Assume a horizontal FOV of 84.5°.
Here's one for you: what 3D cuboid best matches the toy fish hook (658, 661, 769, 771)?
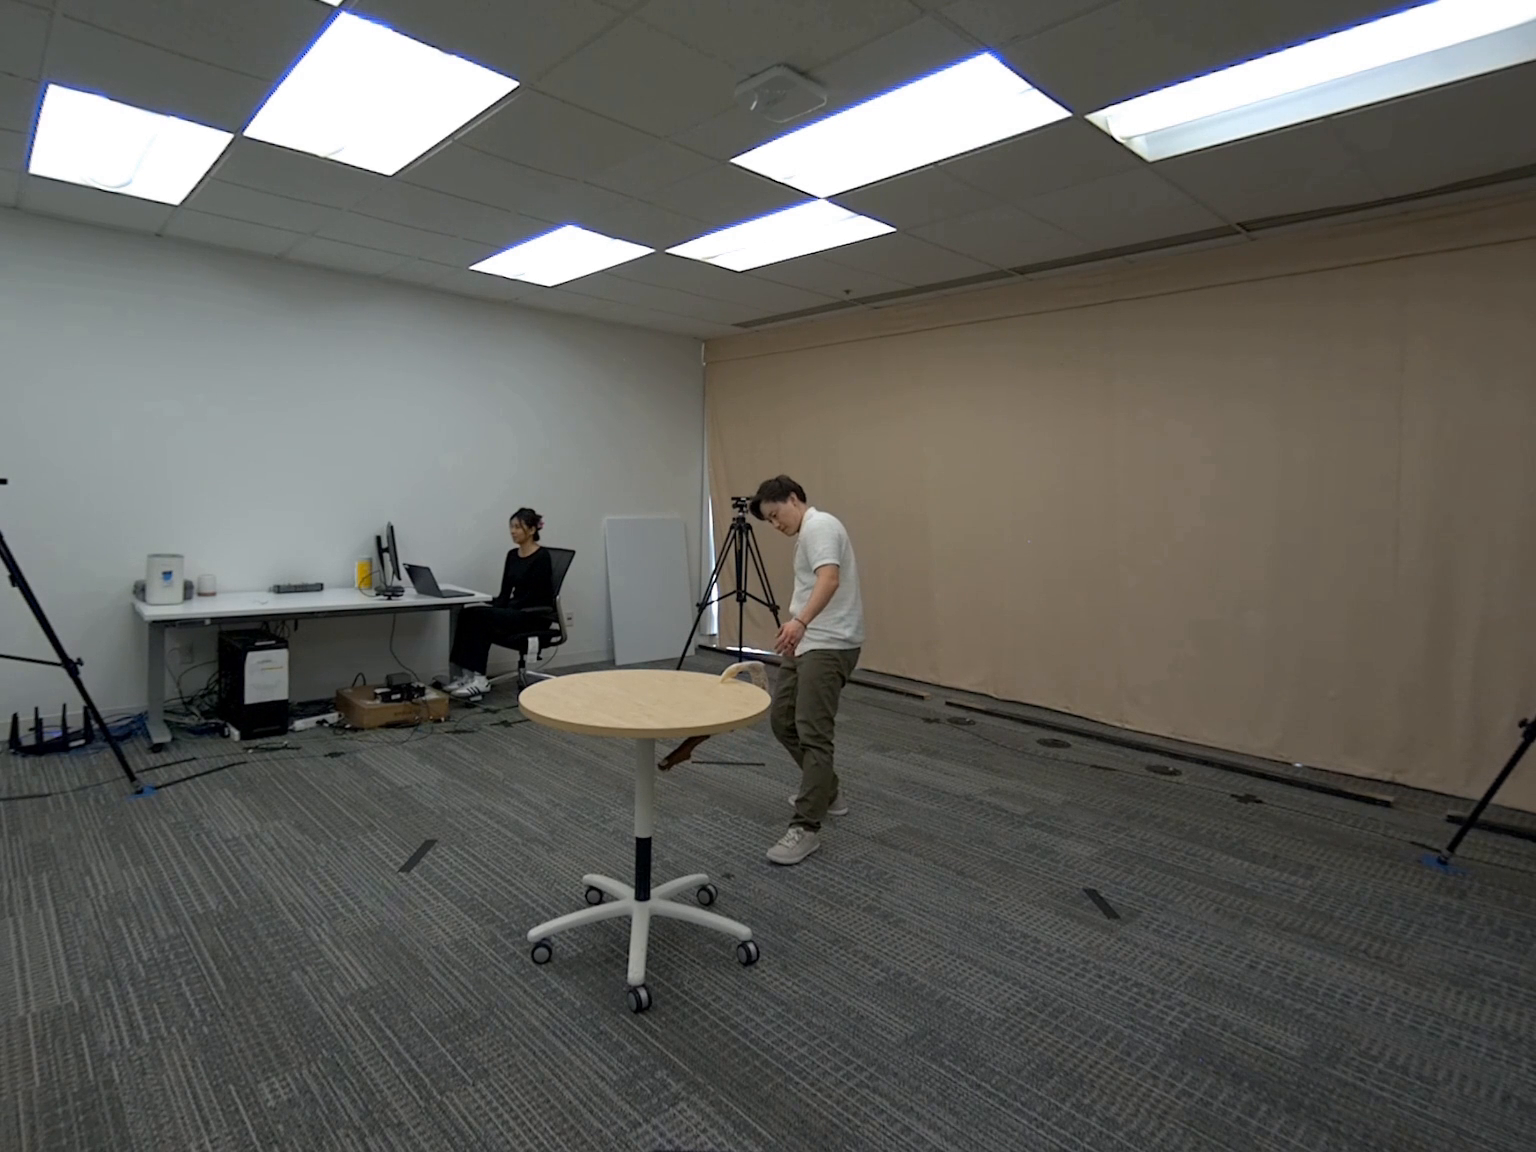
[{"bbox_3d":[-0.184,0.456,2.783,0.049,0.220,0.502,9,32,45],"label":"toy fish hook"}]
